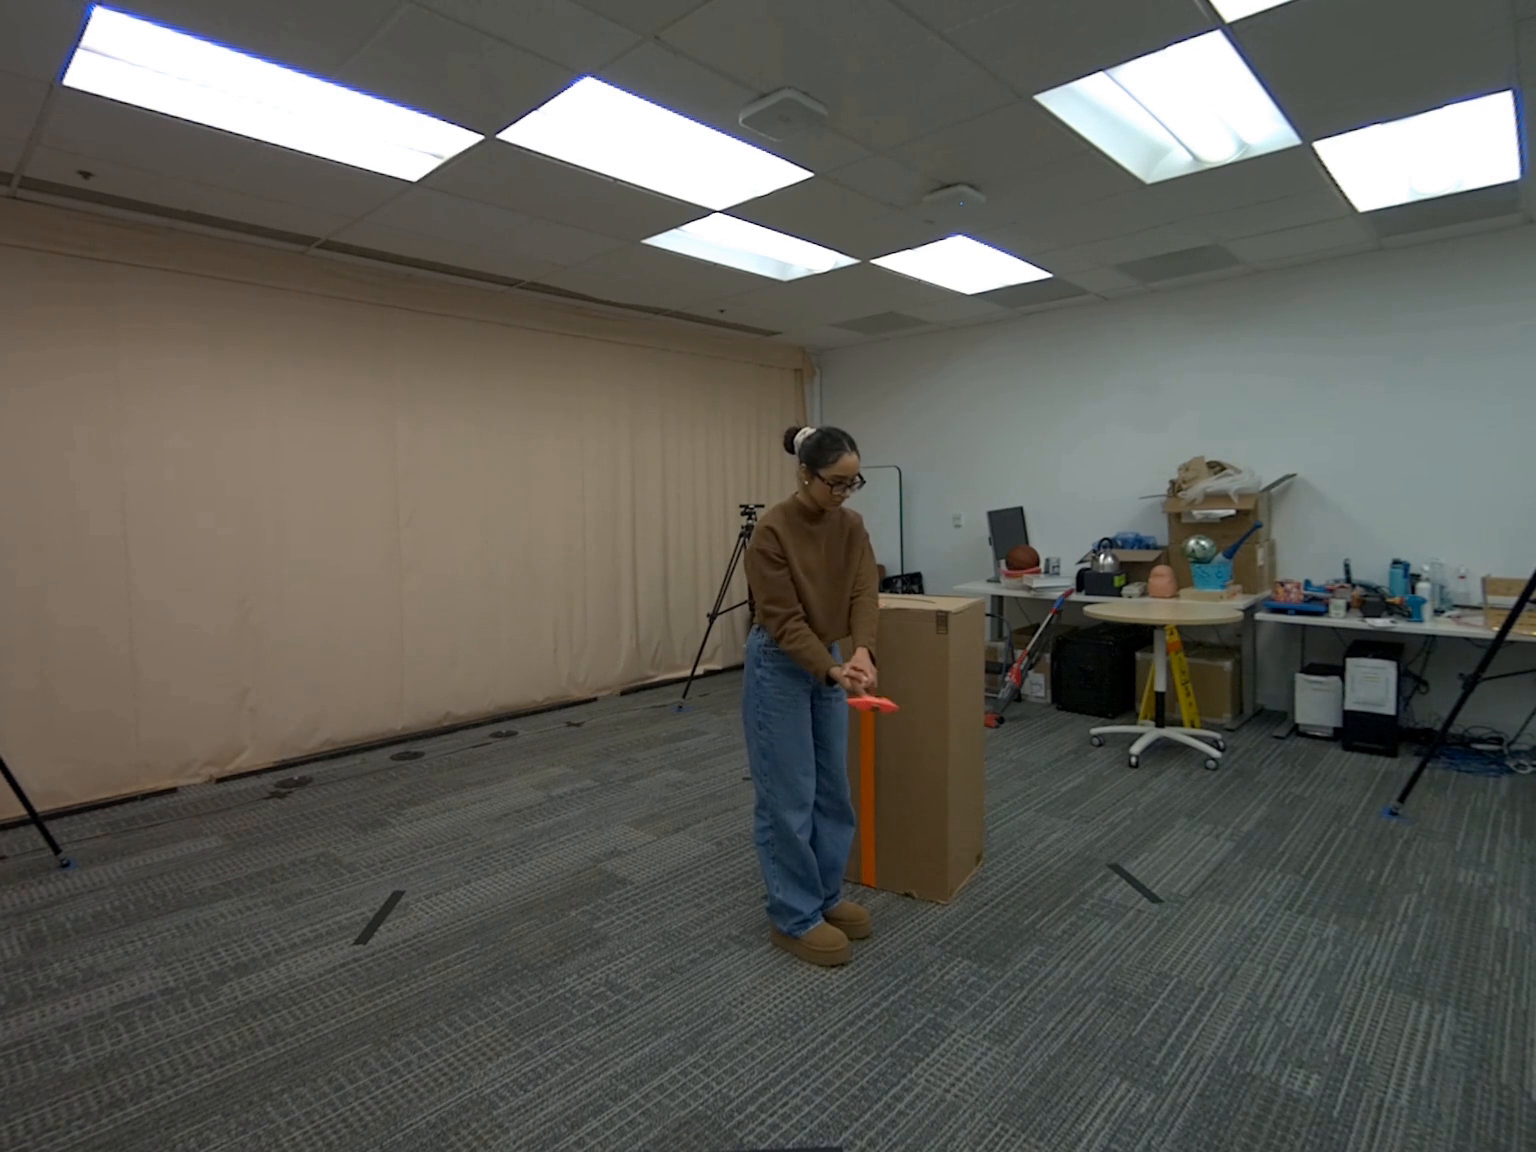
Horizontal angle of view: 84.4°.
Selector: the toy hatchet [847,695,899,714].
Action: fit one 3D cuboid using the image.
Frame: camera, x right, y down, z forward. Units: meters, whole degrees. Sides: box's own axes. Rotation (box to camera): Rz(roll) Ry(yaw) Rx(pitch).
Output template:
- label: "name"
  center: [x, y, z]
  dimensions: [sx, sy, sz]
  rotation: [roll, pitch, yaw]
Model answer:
- label: "toy hatchet"
  center: [0.276, 0.302, 2.197]
  dimensions: [0.132, 0.029, 0.269]
  rotation: [7, 9, 6]
